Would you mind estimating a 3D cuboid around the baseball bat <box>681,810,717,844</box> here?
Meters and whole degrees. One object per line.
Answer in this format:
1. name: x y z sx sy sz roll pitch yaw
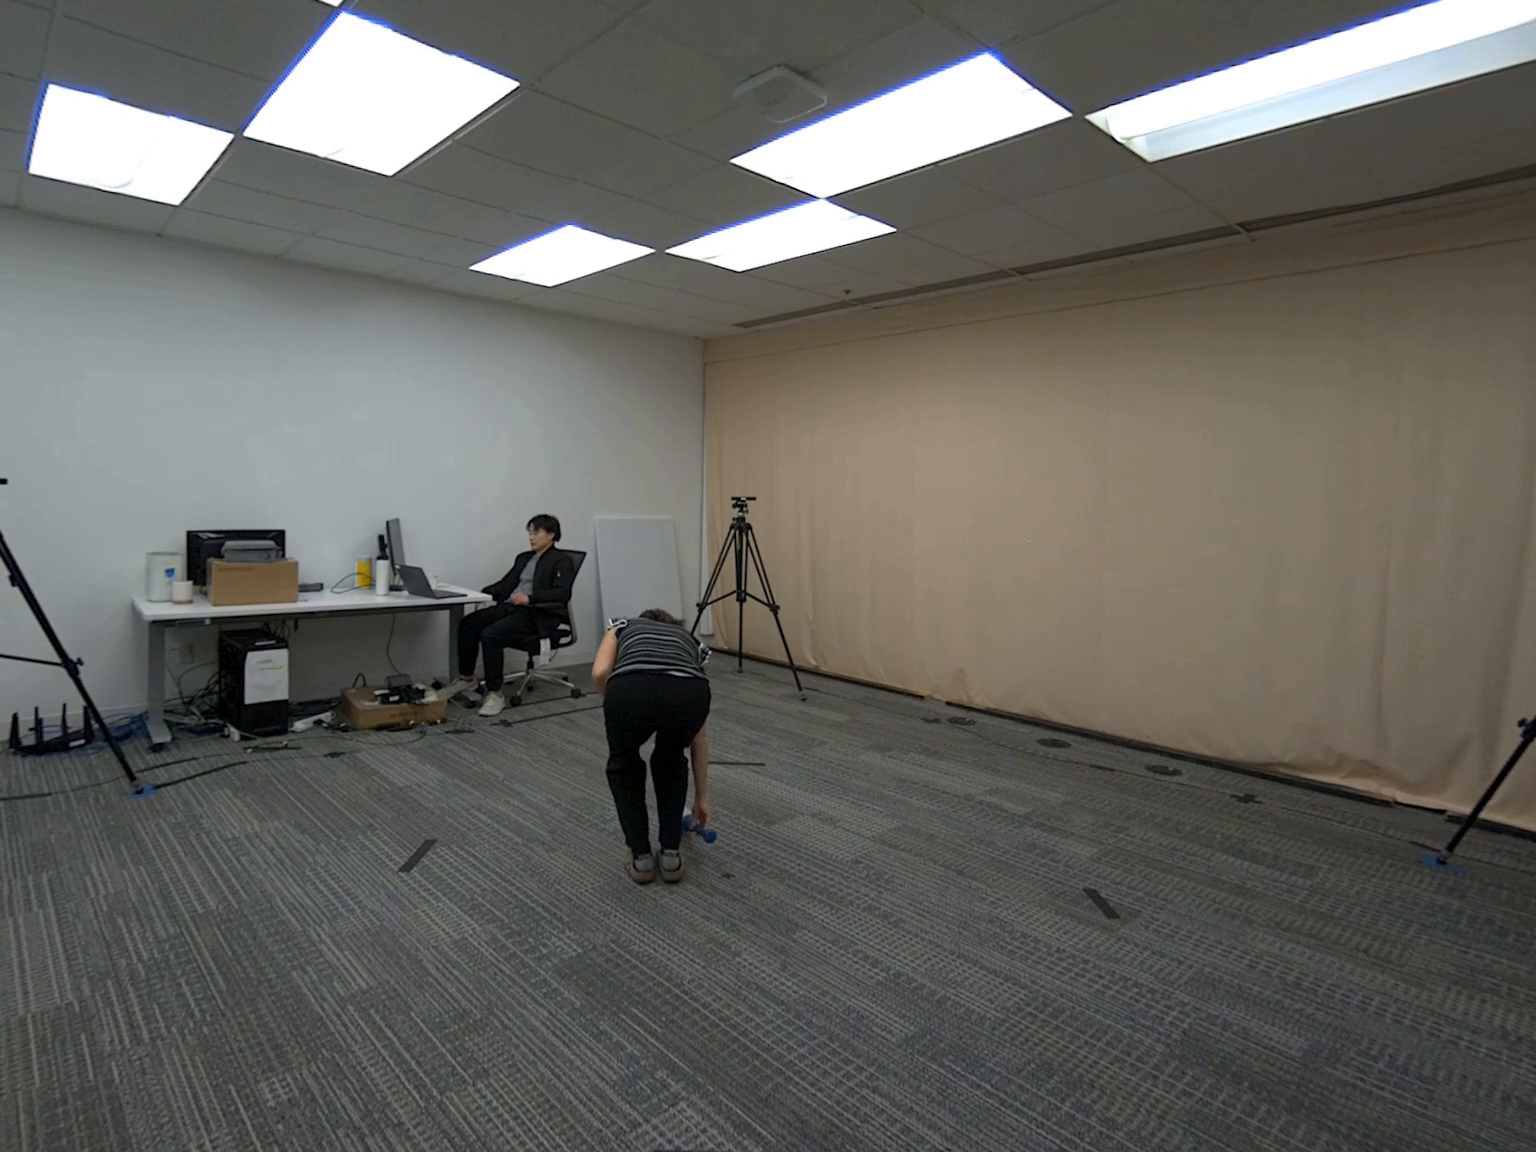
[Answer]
1. baseball bat: -0.311 0.996 3.362 0.088 0.089 0.549 0 -4 -20
